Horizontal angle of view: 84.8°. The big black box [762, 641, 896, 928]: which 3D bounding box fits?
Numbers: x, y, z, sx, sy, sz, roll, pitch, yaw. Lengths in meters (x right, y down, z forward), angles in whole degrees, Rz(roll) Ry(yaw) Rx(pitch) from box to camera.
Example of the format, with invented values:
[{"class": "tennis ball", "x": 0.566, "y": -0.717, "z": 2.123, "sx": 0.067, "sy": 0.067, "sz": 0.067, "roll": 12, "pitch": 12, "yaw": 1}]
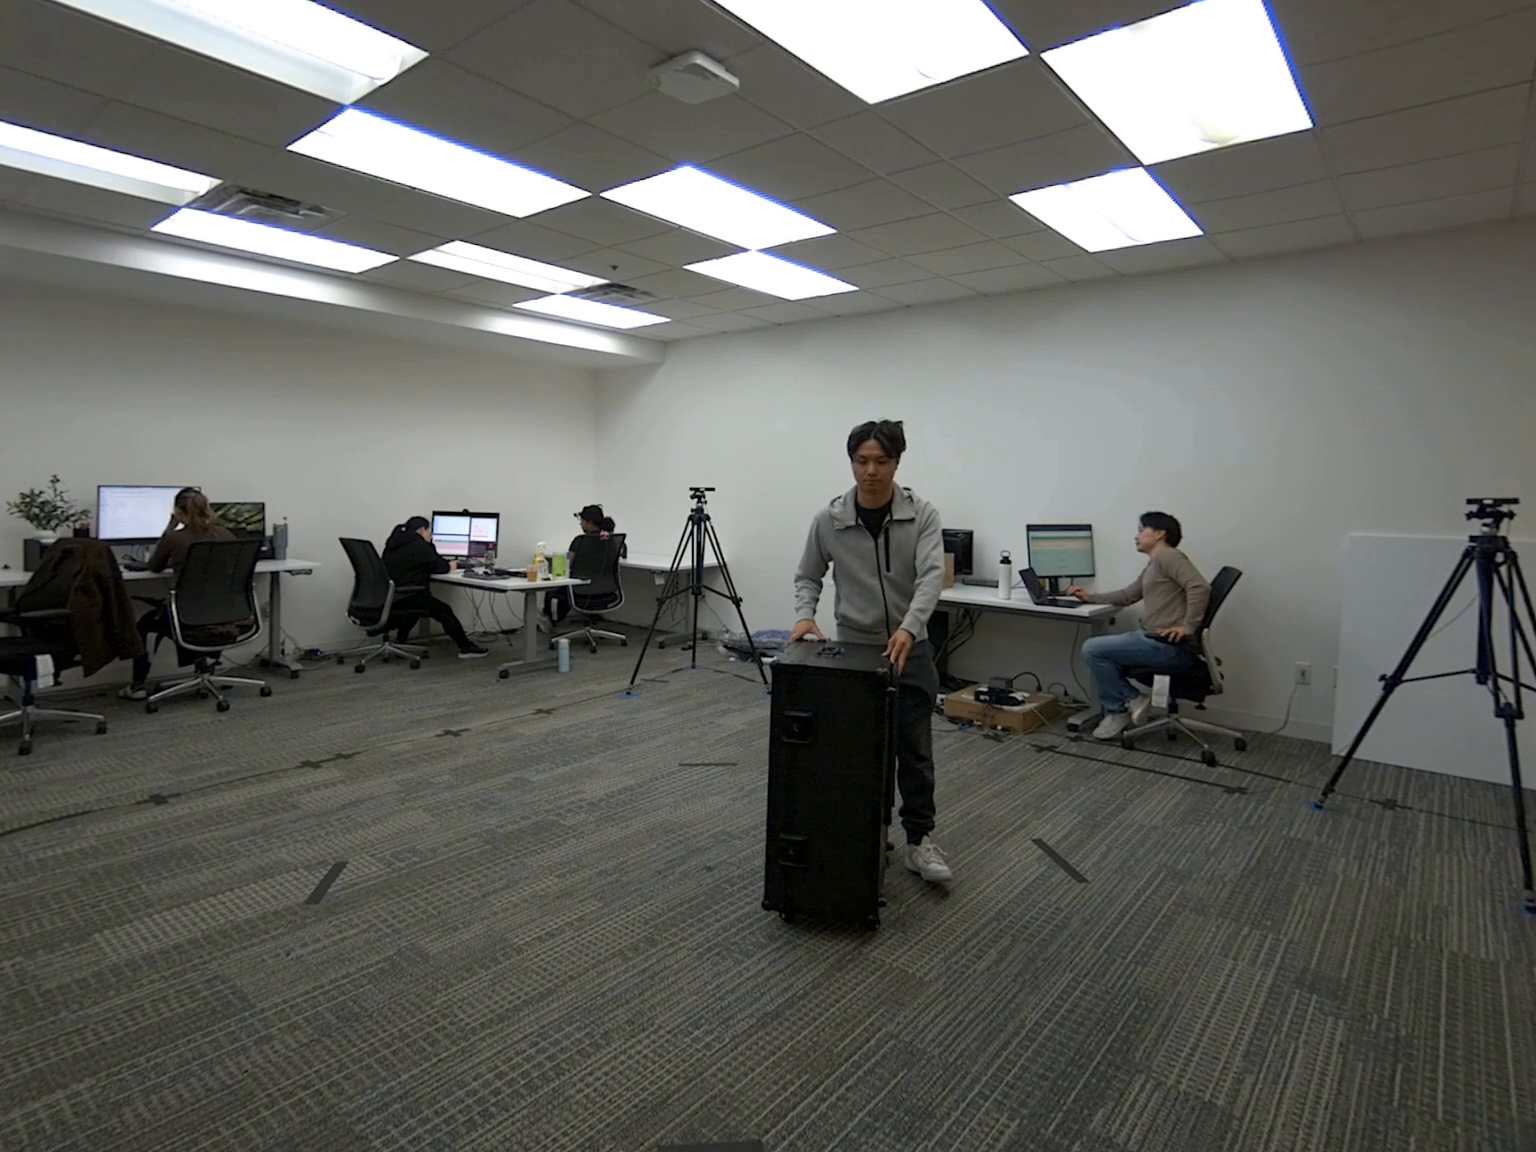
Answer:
[{"class": "big black box", "x": 0.213, "y": 0.675, "z": 2.829, "sx": 0.402, "sy": 0.859, "sz": 0.515, "roll": 2, "pitch": 3, "yaw": 13}]
